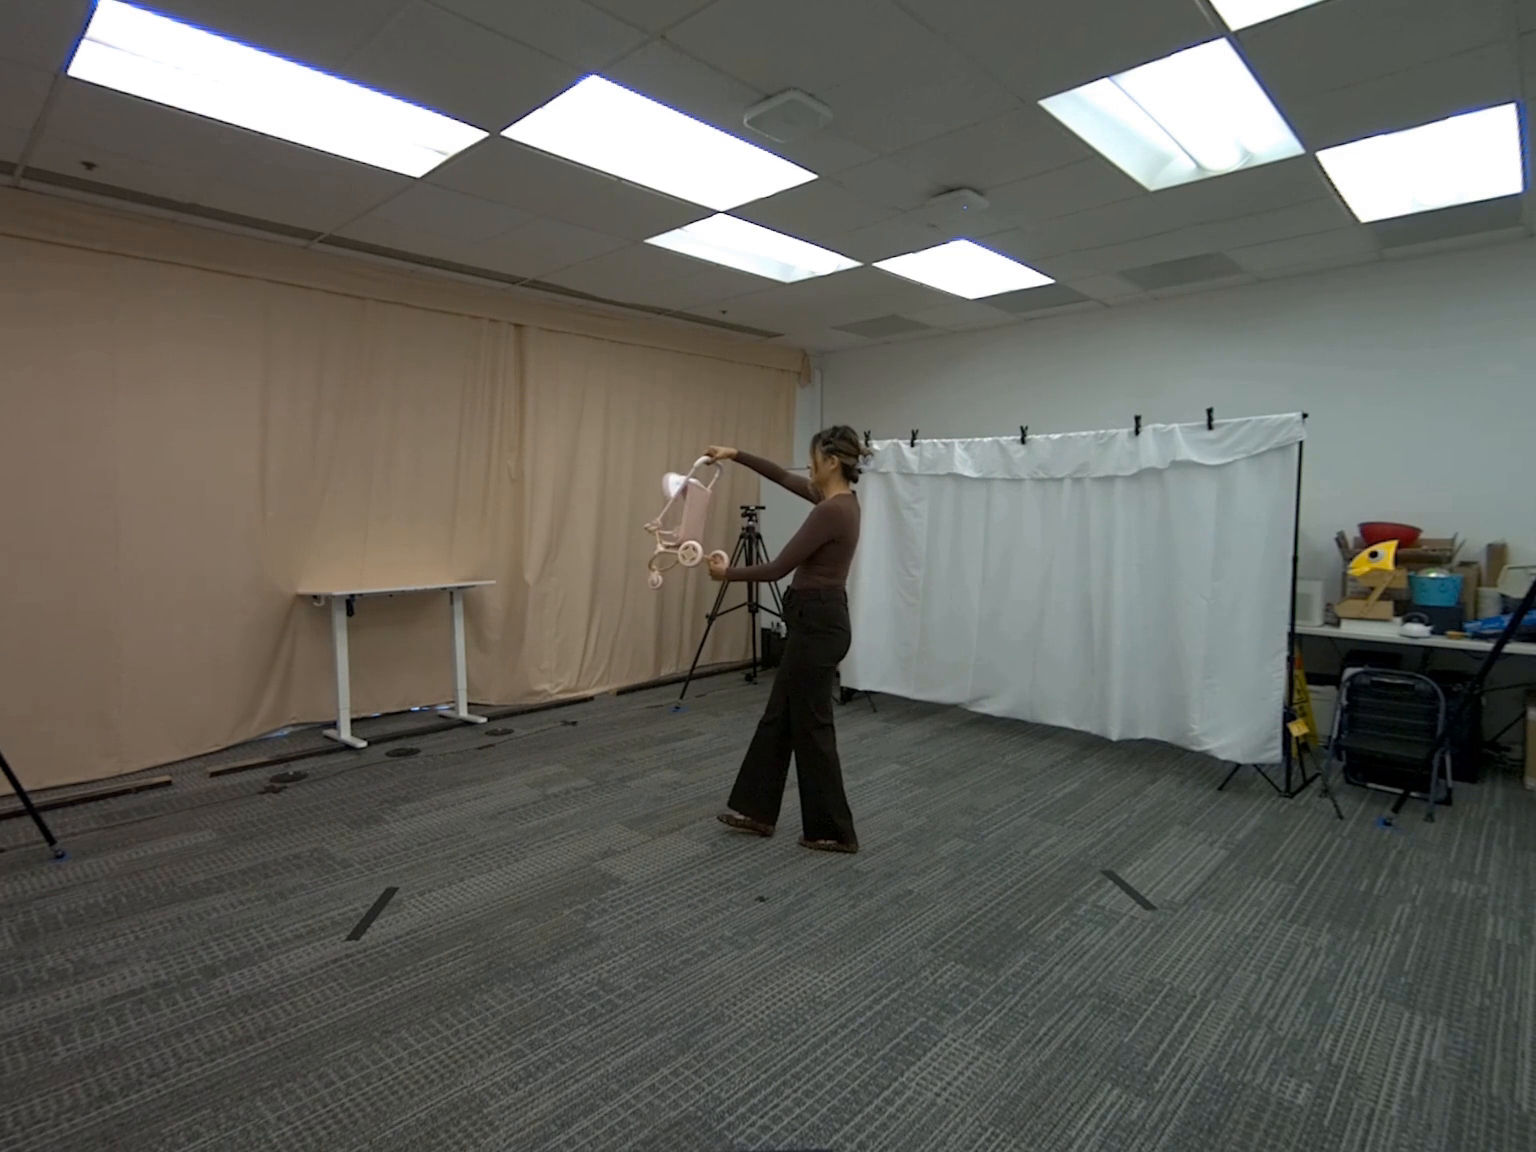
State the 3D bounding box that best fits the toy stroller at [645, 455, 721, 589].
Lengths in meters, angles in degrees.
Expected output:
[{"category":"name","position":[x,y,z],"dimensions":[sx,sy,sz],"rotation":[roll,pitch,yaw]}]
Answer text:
[{"category":"toy stroller","position":[-0.362,-0.212,3.607],"dimensions":[0.350,0.538,0.272],"rotation":[-6,-10,30]}]
